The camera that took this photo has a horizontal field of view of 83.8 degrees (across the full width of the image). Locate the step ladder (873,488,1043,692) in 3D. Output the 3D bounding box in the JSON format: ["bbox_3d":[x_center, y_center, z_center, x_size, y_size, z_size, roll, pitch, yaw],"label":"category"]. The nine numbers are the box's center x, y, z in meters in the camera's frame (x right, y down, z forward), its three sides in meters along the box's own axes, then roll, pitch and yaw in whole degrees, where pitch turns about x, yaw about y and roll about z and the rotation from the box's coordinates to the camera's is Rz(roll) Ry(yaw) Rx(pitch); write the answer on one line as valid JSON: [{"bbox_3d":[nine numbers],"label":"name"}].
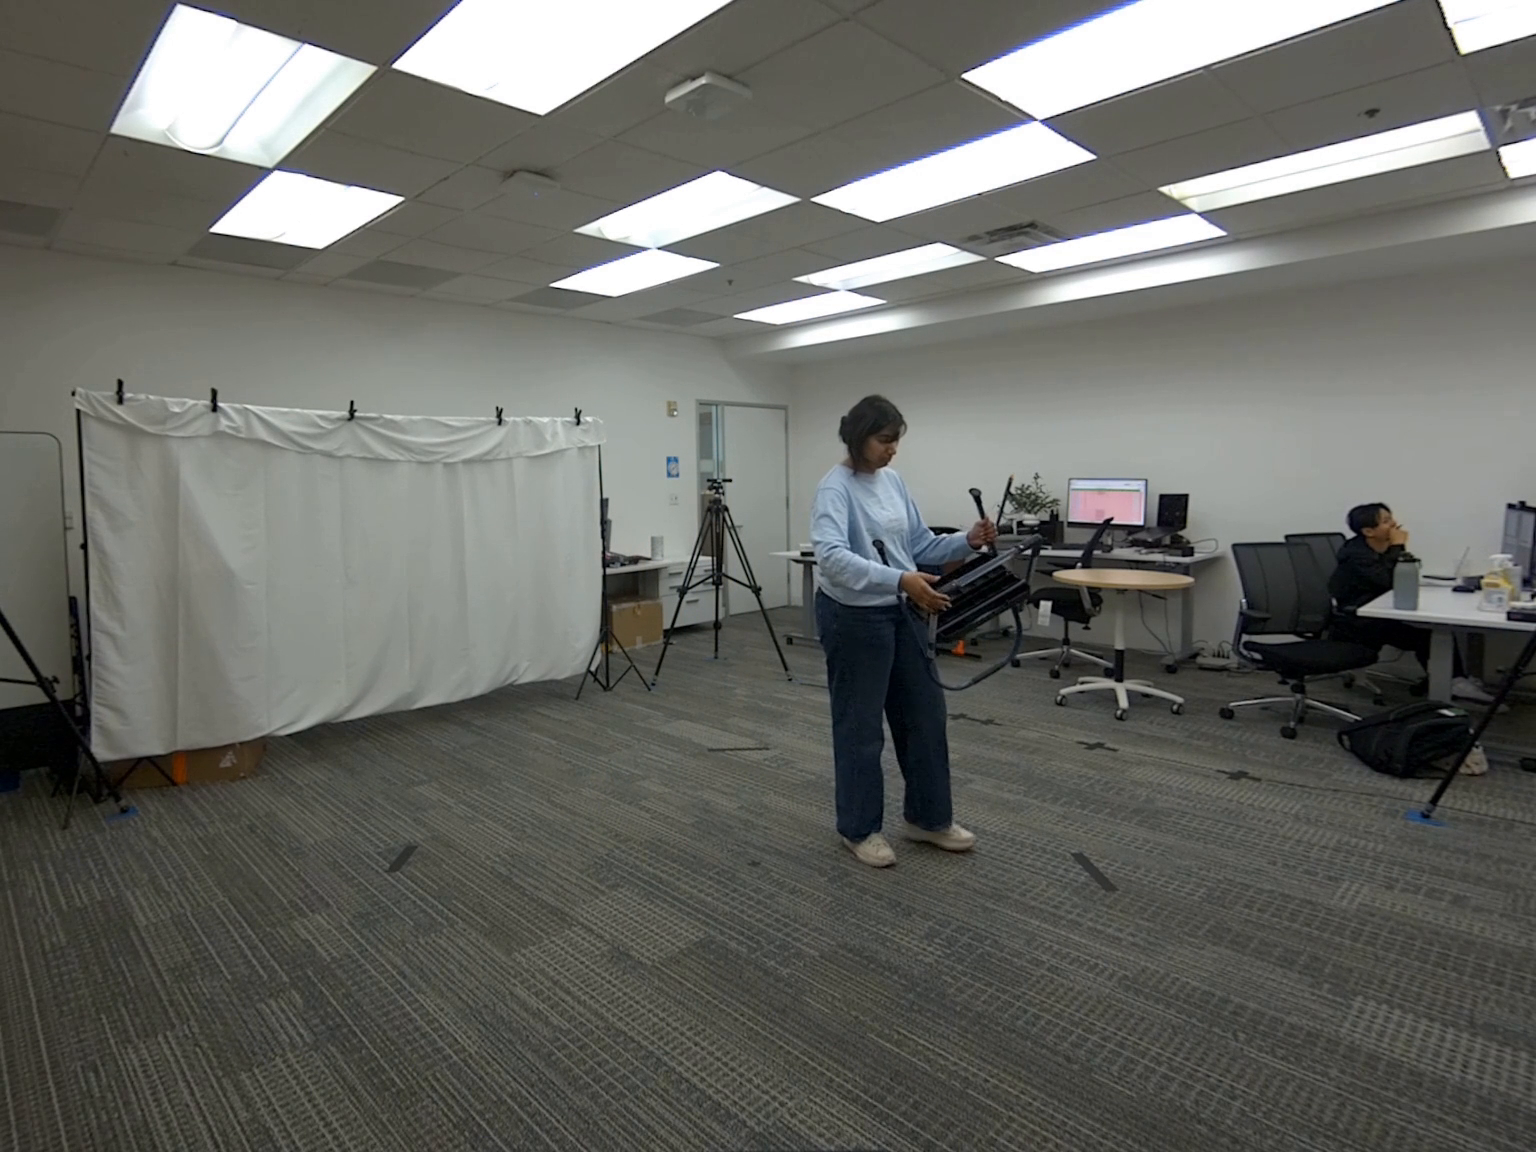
[{"bbox_3d":[0.684,0.102,2.945,0.428,0.586,0.363,-27,38,-12],"label":"step ladder"}]
